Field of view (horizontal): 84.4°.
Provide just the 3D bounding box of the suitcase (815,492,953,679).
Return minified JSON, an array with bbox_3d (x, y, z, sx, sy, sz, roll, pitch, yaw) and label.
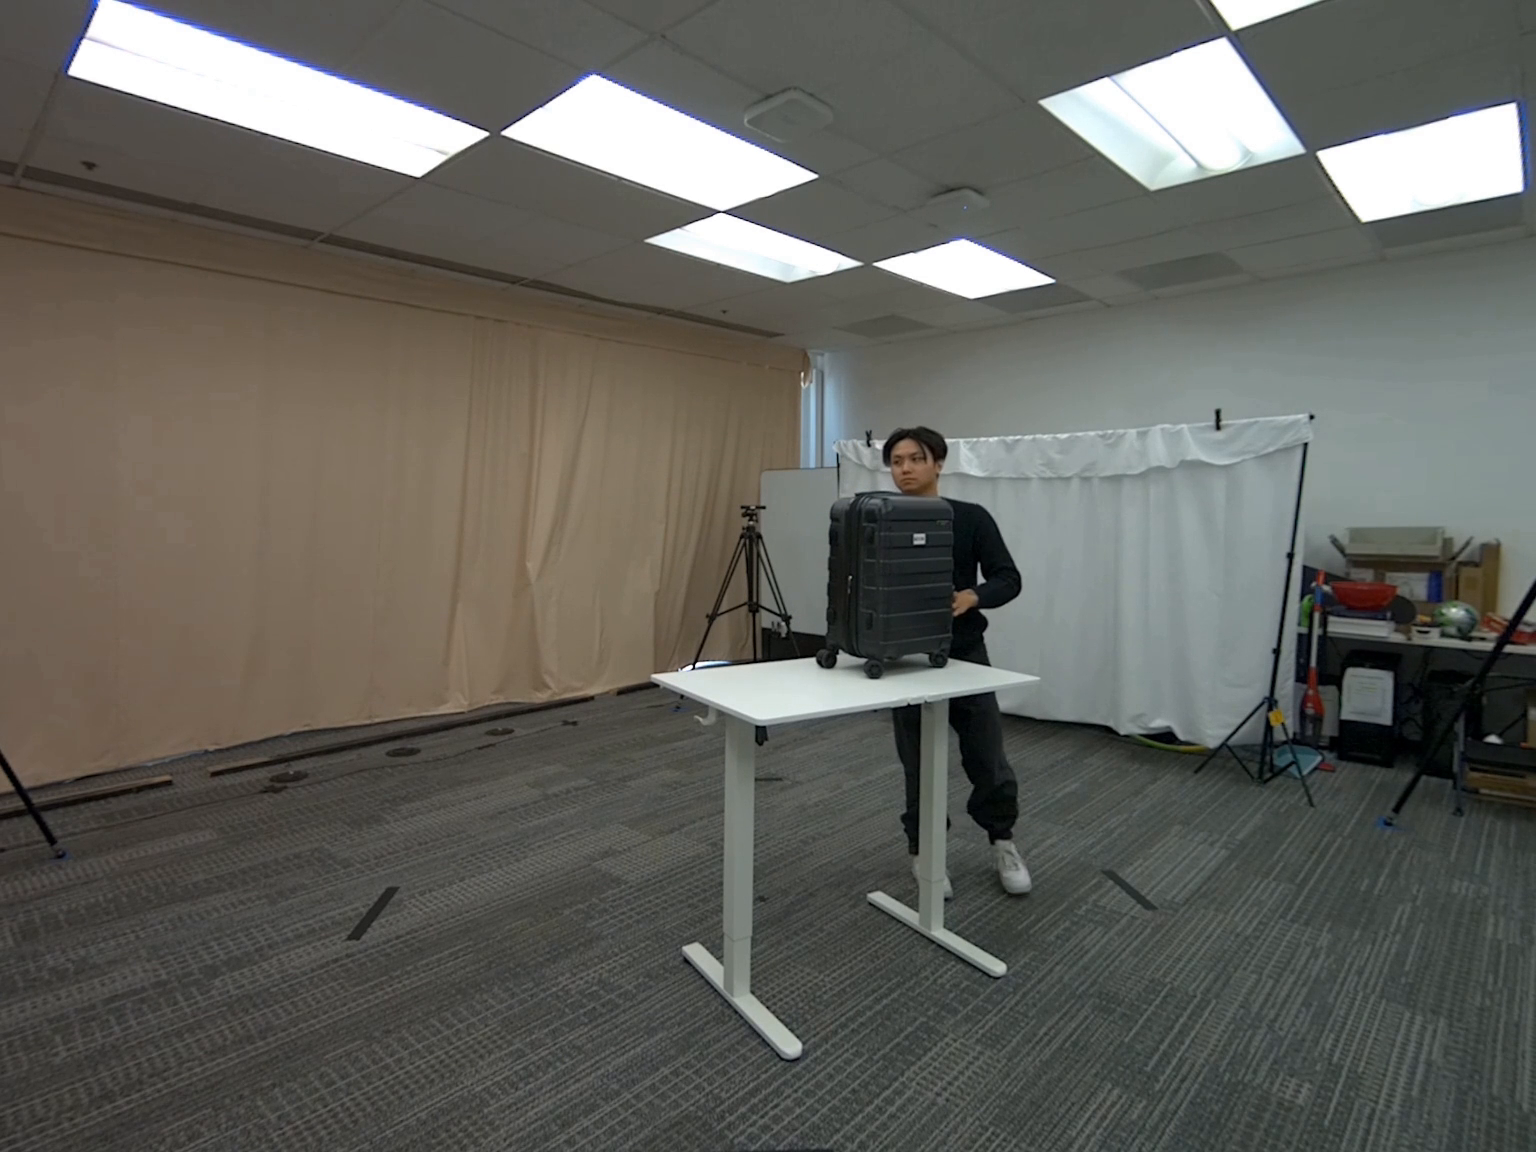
[{"bbox_3d":[0.384,0.012,2.643,0.364,0.548,0.256,0,3,-38],"label":"suitcase"}]
